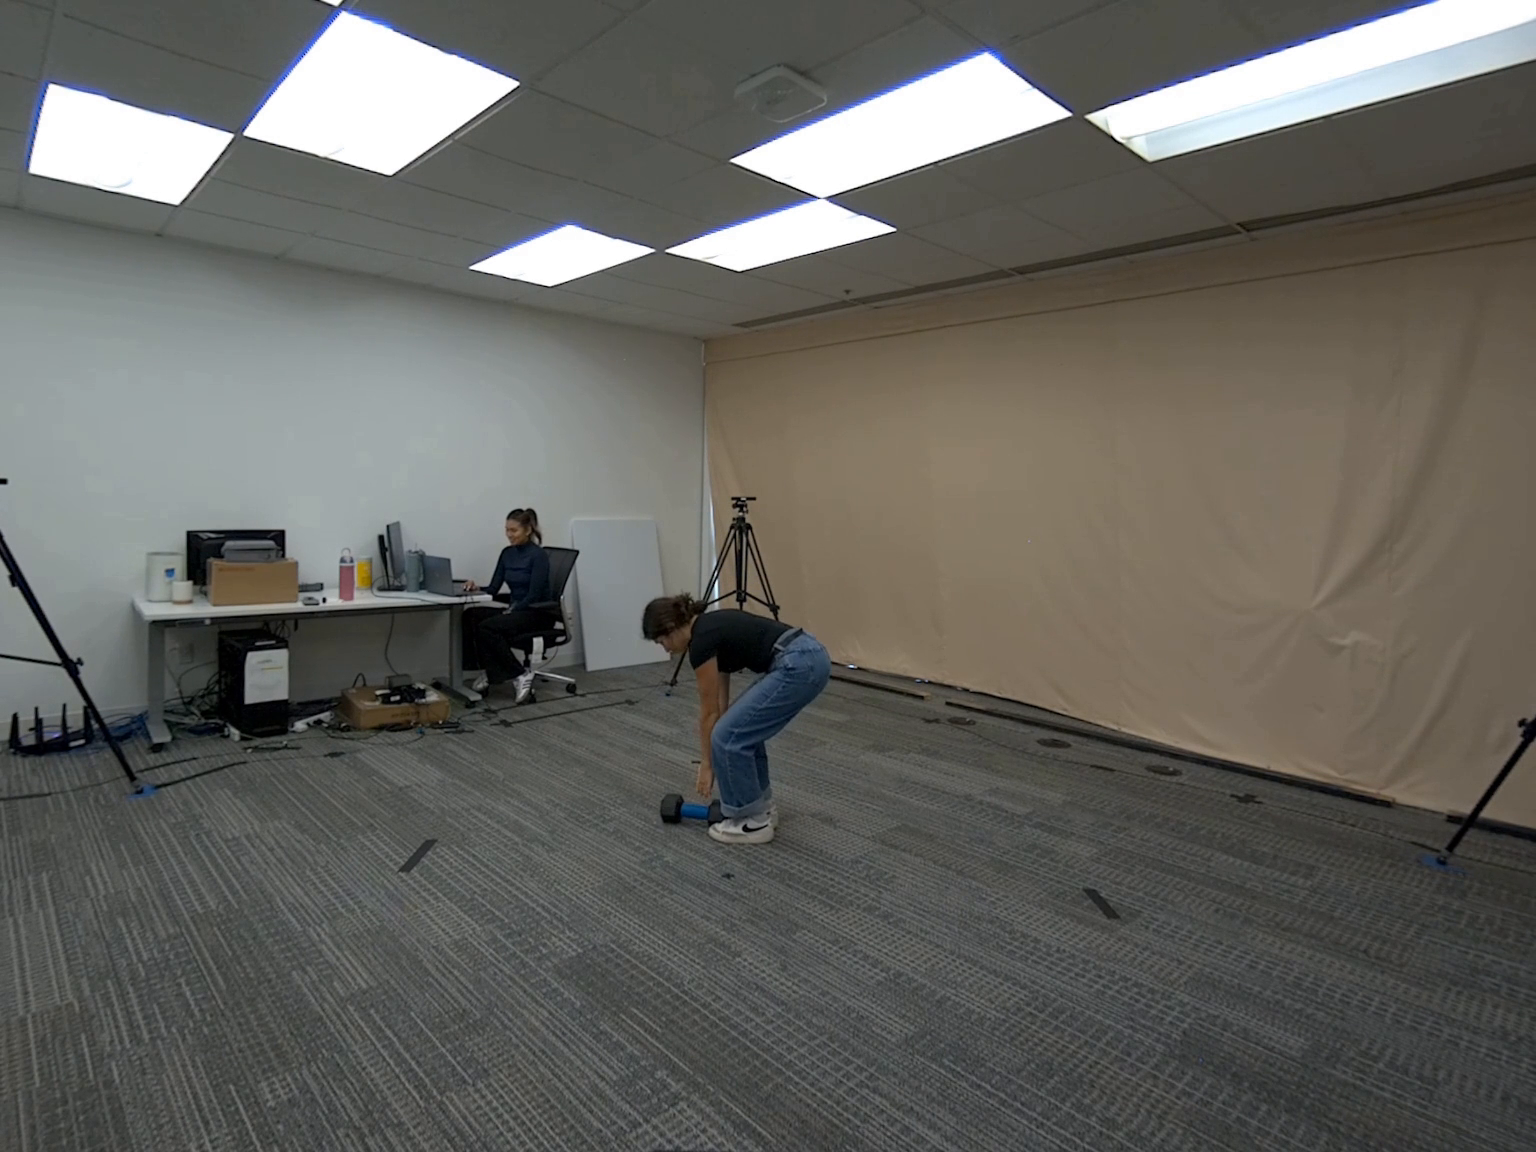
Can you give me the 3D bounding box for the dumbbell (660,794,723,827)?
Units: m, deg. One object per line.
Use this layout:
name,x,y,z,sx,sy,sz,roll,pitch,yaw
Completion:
dumbbell,-0.322,1.008,3.586,0.297,0.124,0.106,3,-19,16
